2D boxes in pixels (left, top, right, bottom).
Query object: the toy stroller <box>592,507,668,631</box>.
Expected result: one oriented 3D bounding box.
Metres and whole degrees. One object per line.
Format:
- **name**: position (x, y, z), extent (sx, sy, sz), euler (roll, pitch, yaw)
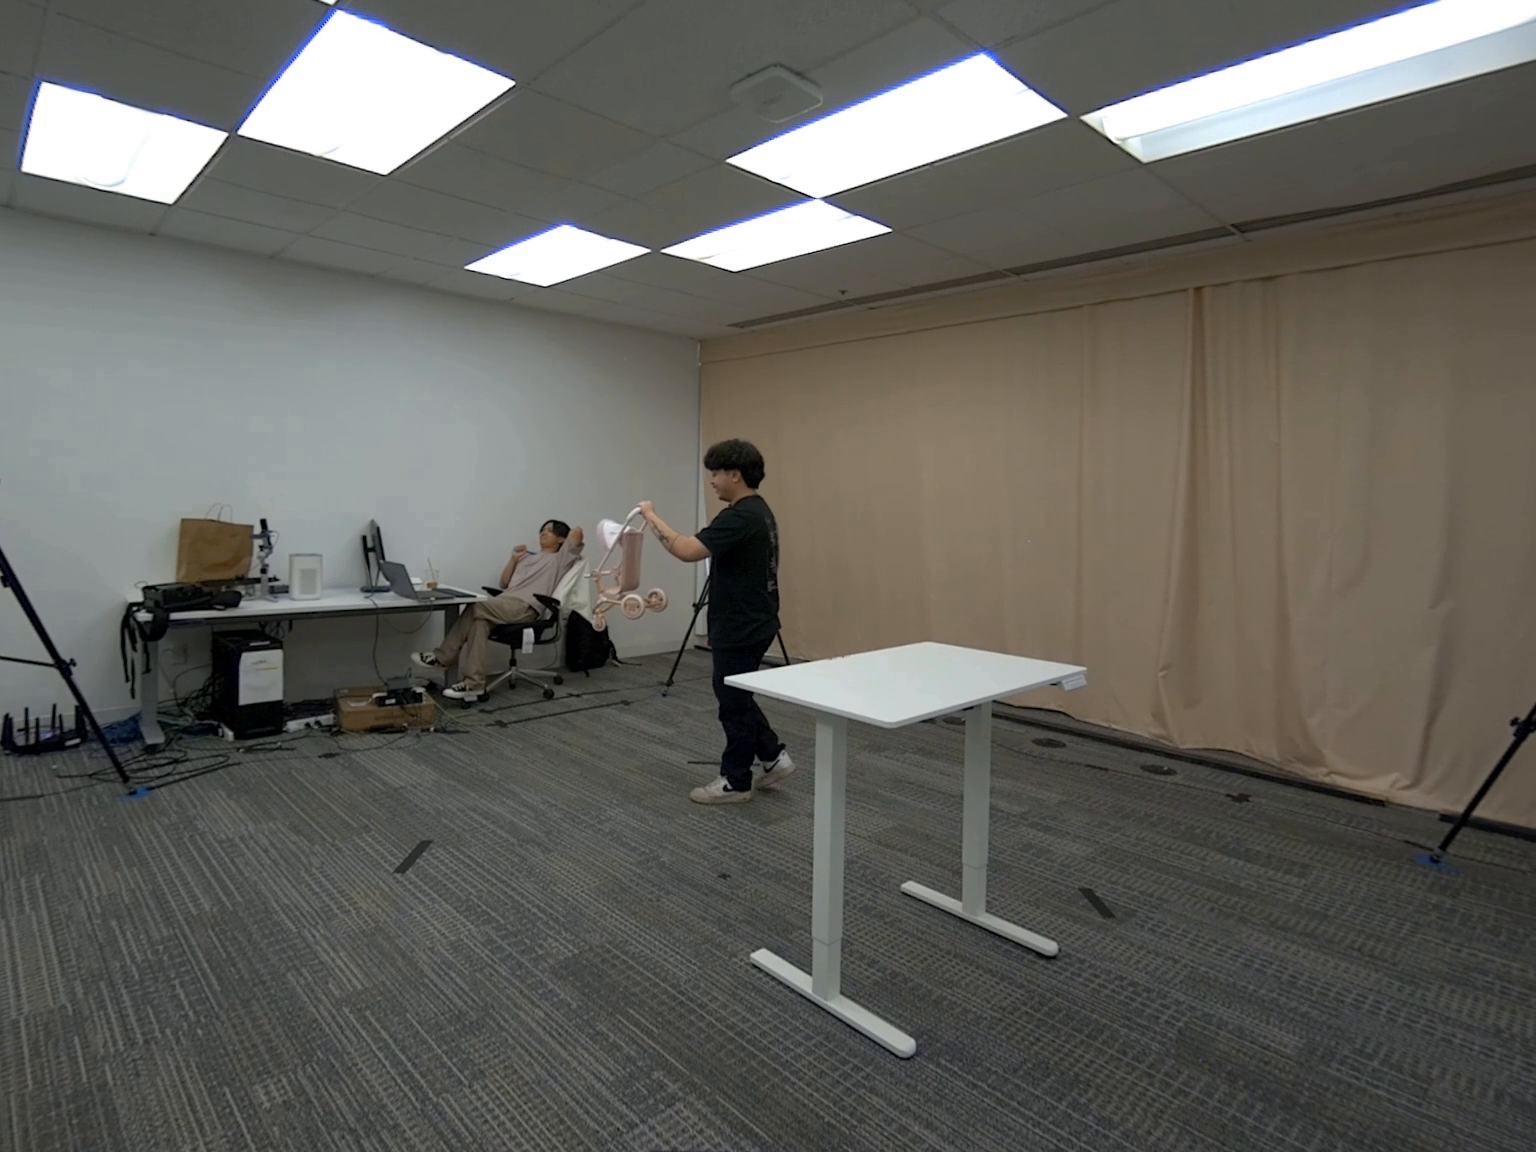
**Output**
- **toy stroller**: position (-0.666, -0.022, 3.801), extent (0.346, 0.535, 0.277), euler (-7, 1, 23)
